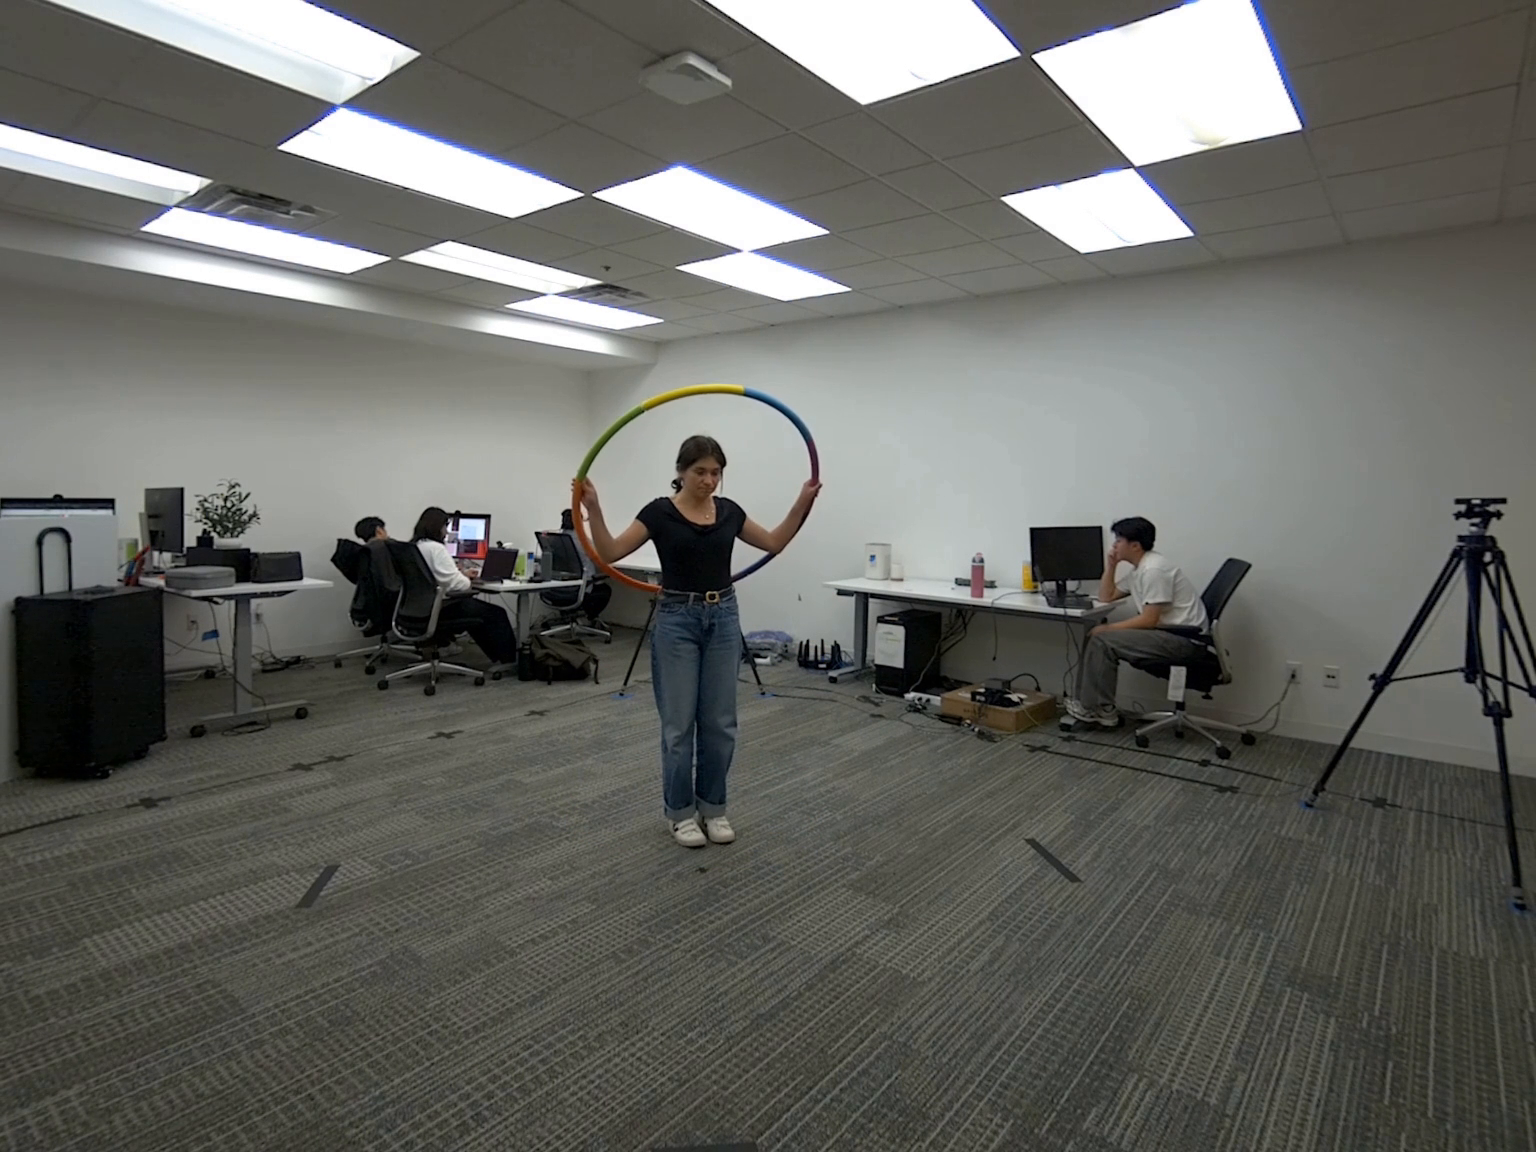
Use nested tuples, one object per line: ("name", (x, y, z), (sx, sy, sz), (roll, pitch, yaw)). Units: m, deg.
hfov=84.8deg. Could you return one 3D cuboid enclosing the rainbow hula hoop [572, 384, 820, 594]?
("rainbow hula hoop", (-0.271, -0.313, 3.319), (0.960, 0.960, 0.037), (0, 39, -19))
